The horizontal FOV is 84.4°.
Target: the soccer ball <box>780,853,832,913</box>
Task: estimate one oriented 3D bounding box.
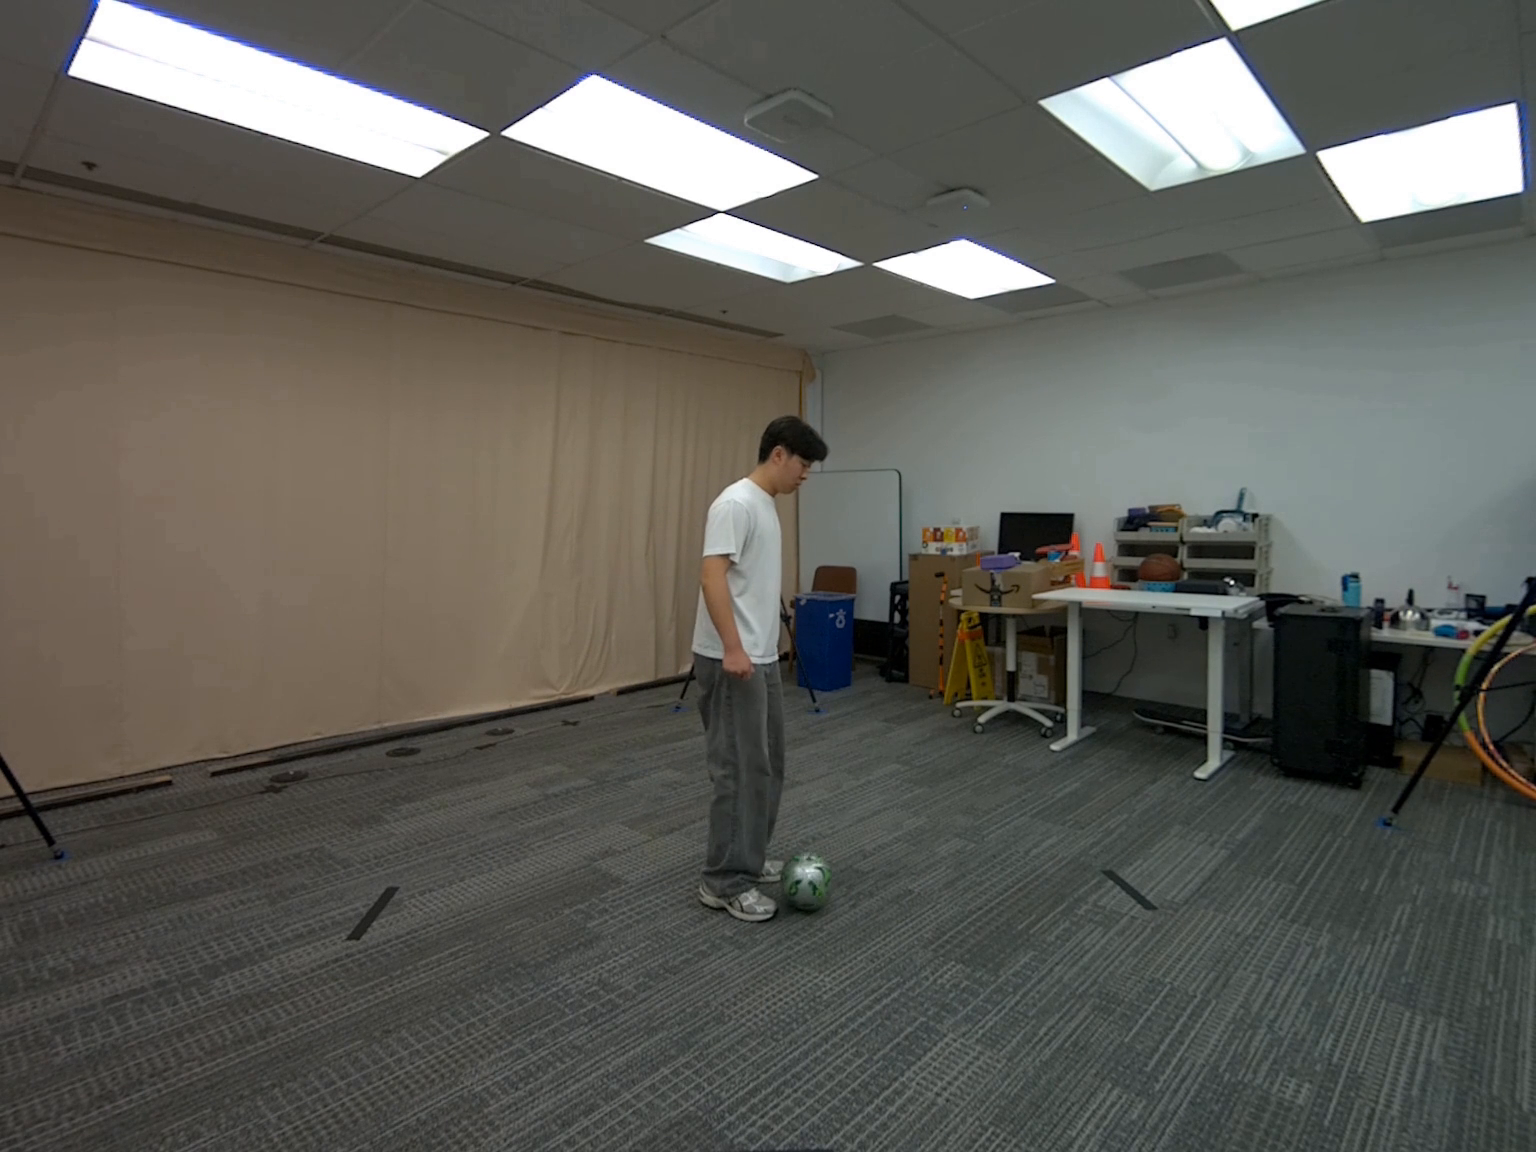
[{"bbox_3d":[0.140,1.060,2.900,0.187,0.187,0.188,0,4,-2],"label":"soccer ball"}]
